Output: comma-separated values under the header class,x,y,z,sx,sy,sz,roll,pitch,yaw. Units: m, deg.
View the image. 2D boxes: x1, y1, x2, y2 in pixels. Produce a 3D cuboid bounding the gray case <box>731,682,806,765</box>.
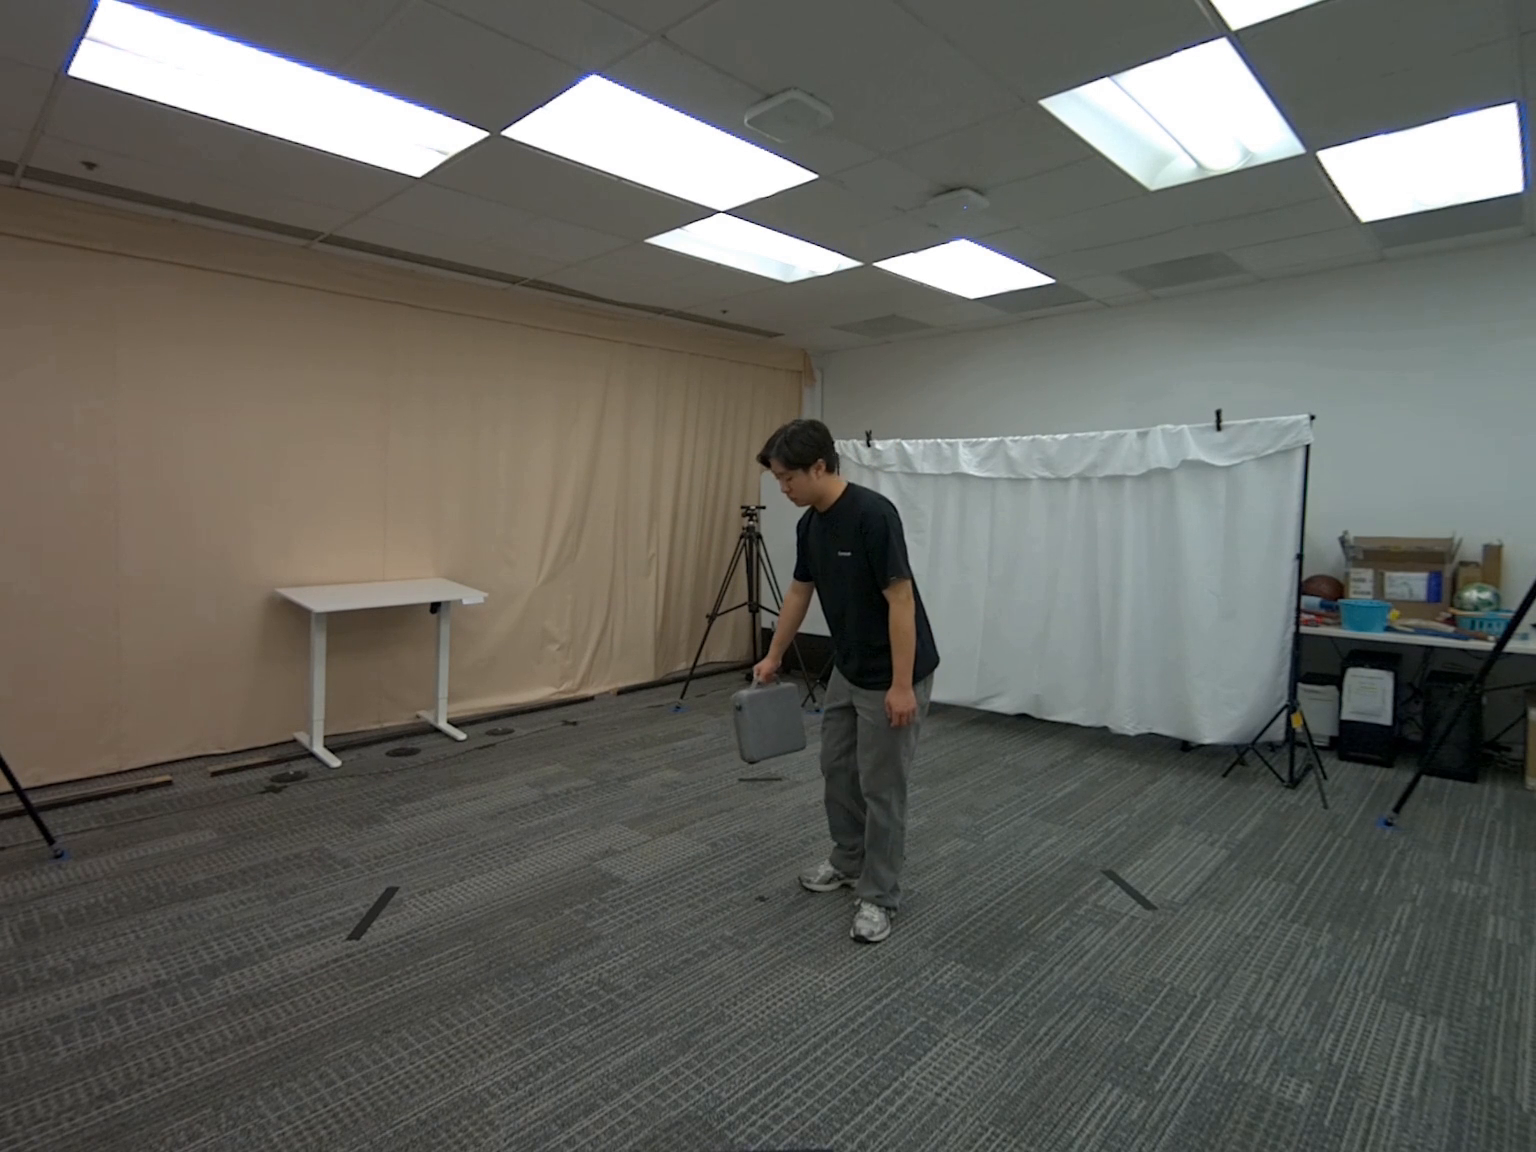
class,x,y,z,sx,sy,sz,roll,pitch,yaw
gray case,0.007,0.520,3.068,0.256,0.288,0.105,-6,-4,-31
